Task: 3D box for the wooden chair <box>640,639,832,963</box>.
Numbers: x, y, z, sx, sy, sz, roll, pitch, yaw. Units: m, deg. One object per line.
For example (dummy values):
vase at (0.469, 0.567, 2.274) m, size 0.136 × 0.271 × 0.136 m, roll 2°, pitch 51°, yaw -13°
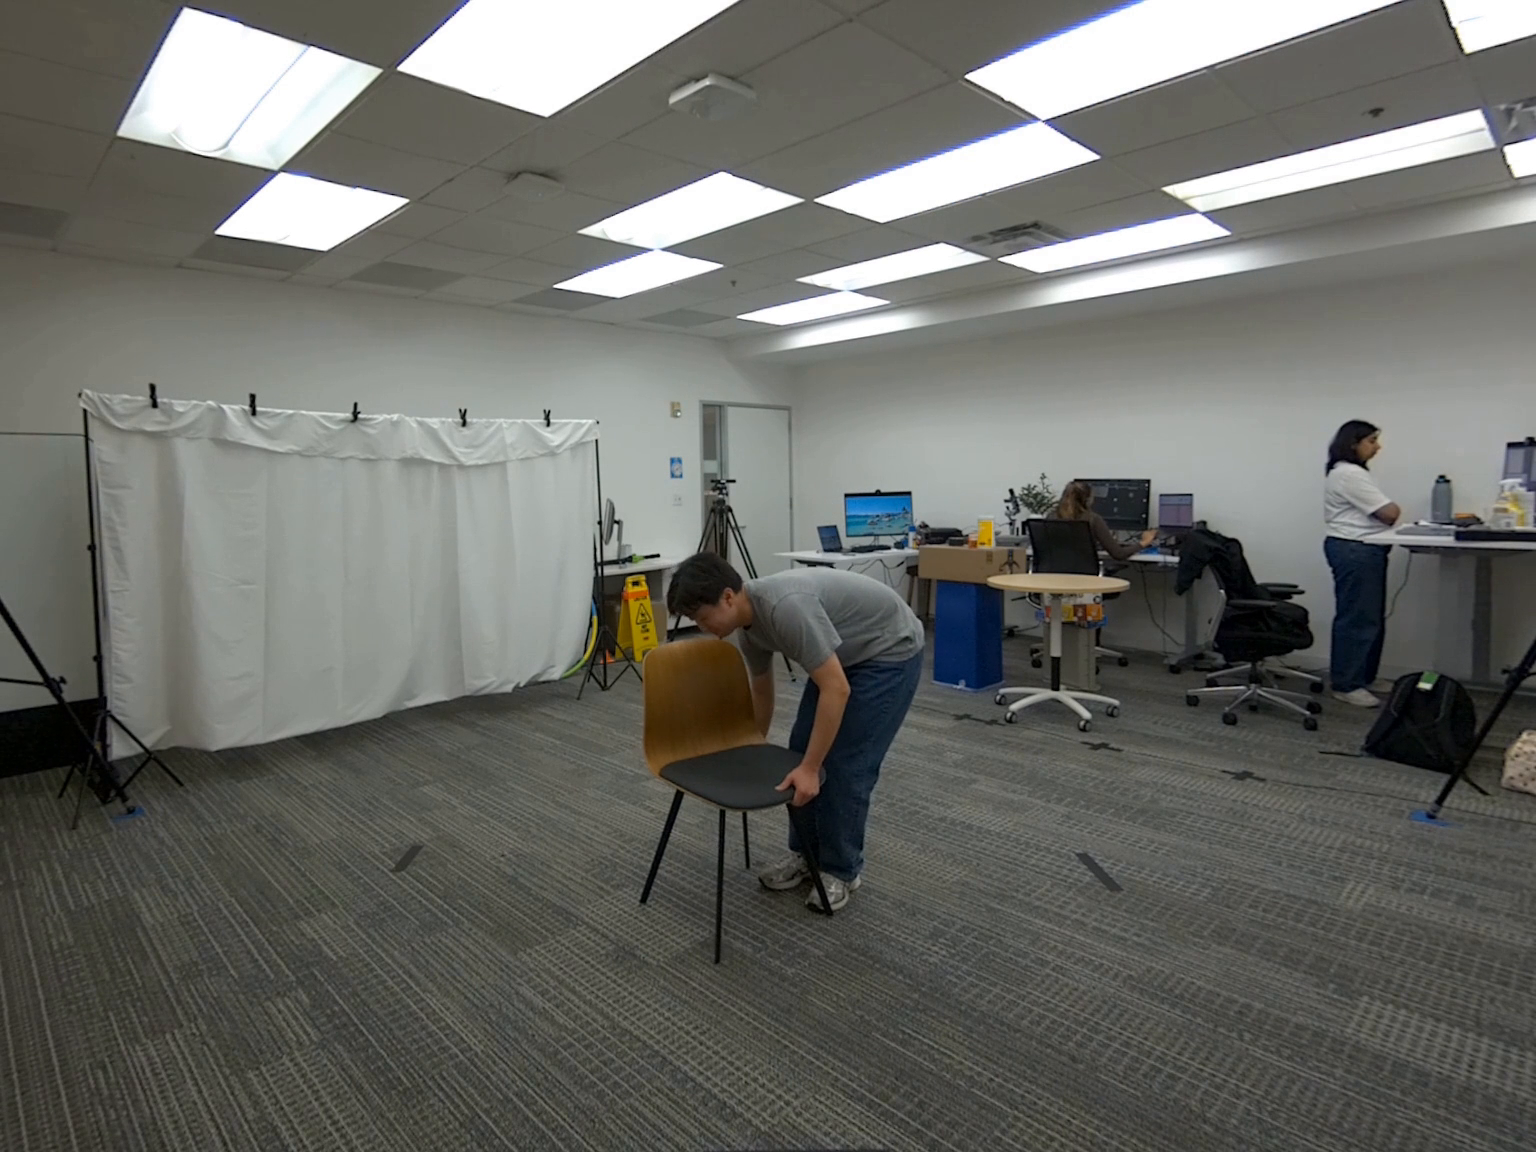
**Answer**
wooden chair at (-0.113, 0.664, 2.734) m, size 0.466 × 0.877 × 0.537 m, roll -4°, pitch 1°, yaw -37°
